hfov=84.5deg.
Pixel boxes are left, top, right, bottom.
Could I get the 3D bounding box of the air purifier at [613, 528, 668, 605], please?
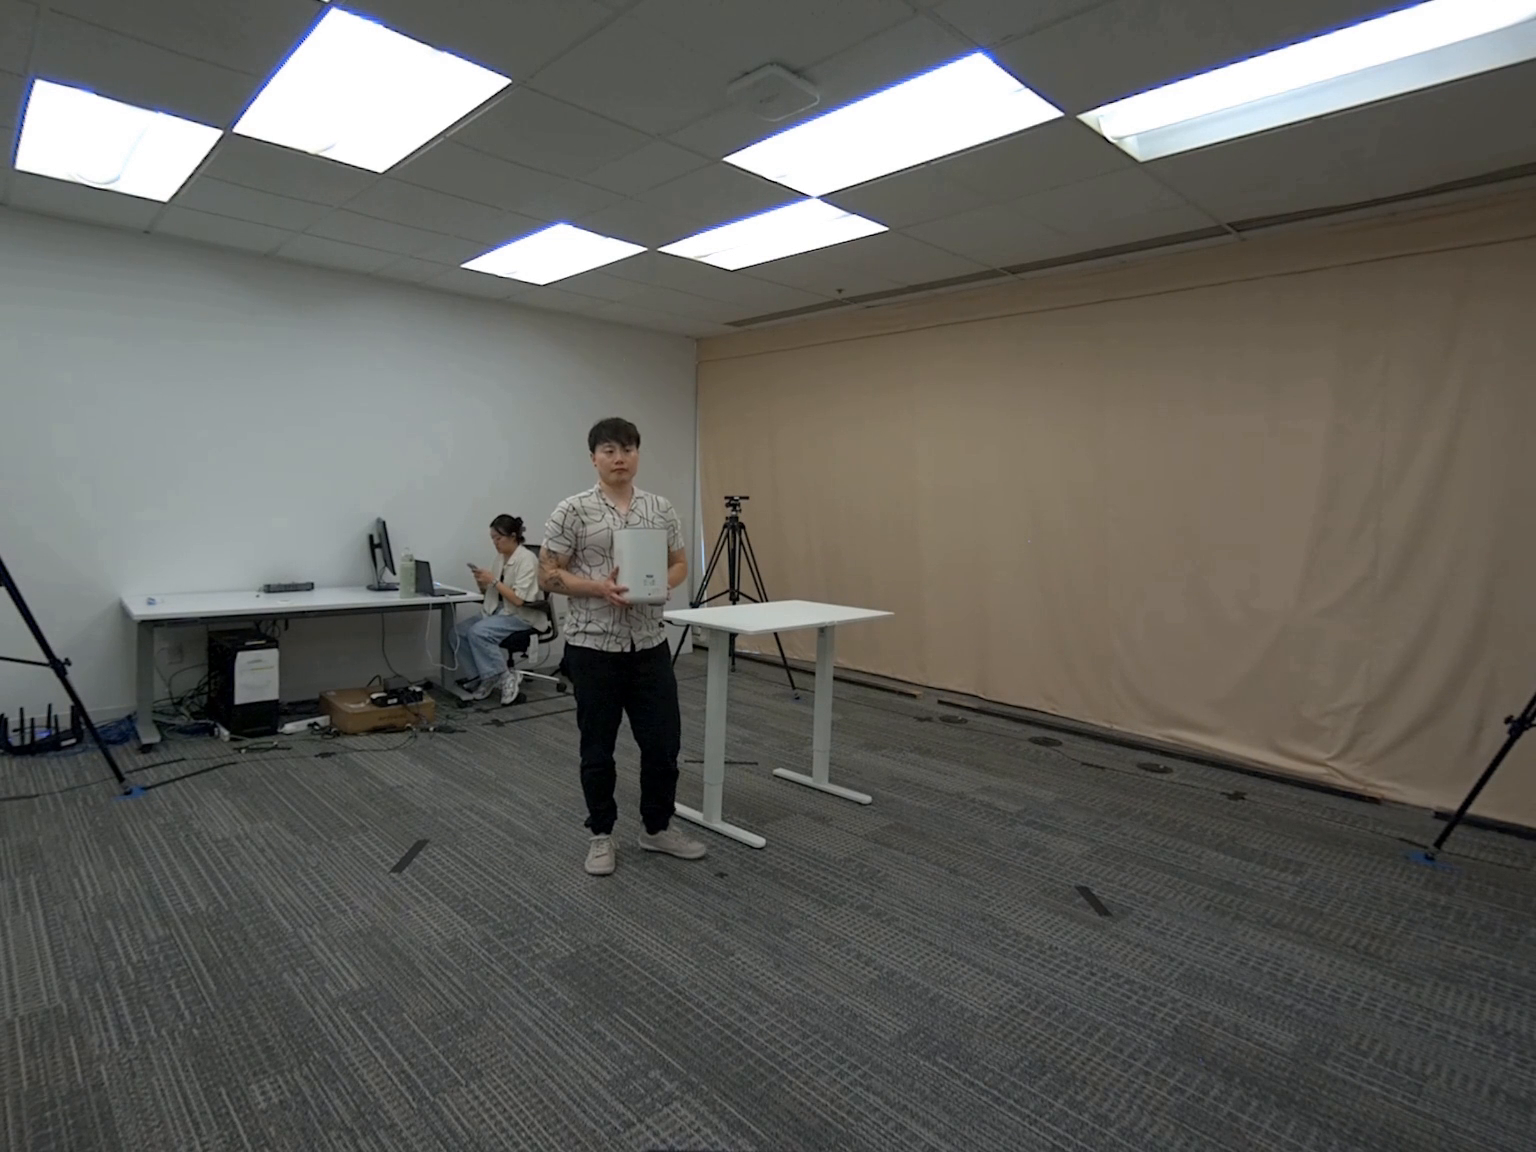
[{"bbox_3d":[-0.480,-0.034,2.986,0.168,0.266,0.174,1,-4,-28],"label":"air purifier"}]
